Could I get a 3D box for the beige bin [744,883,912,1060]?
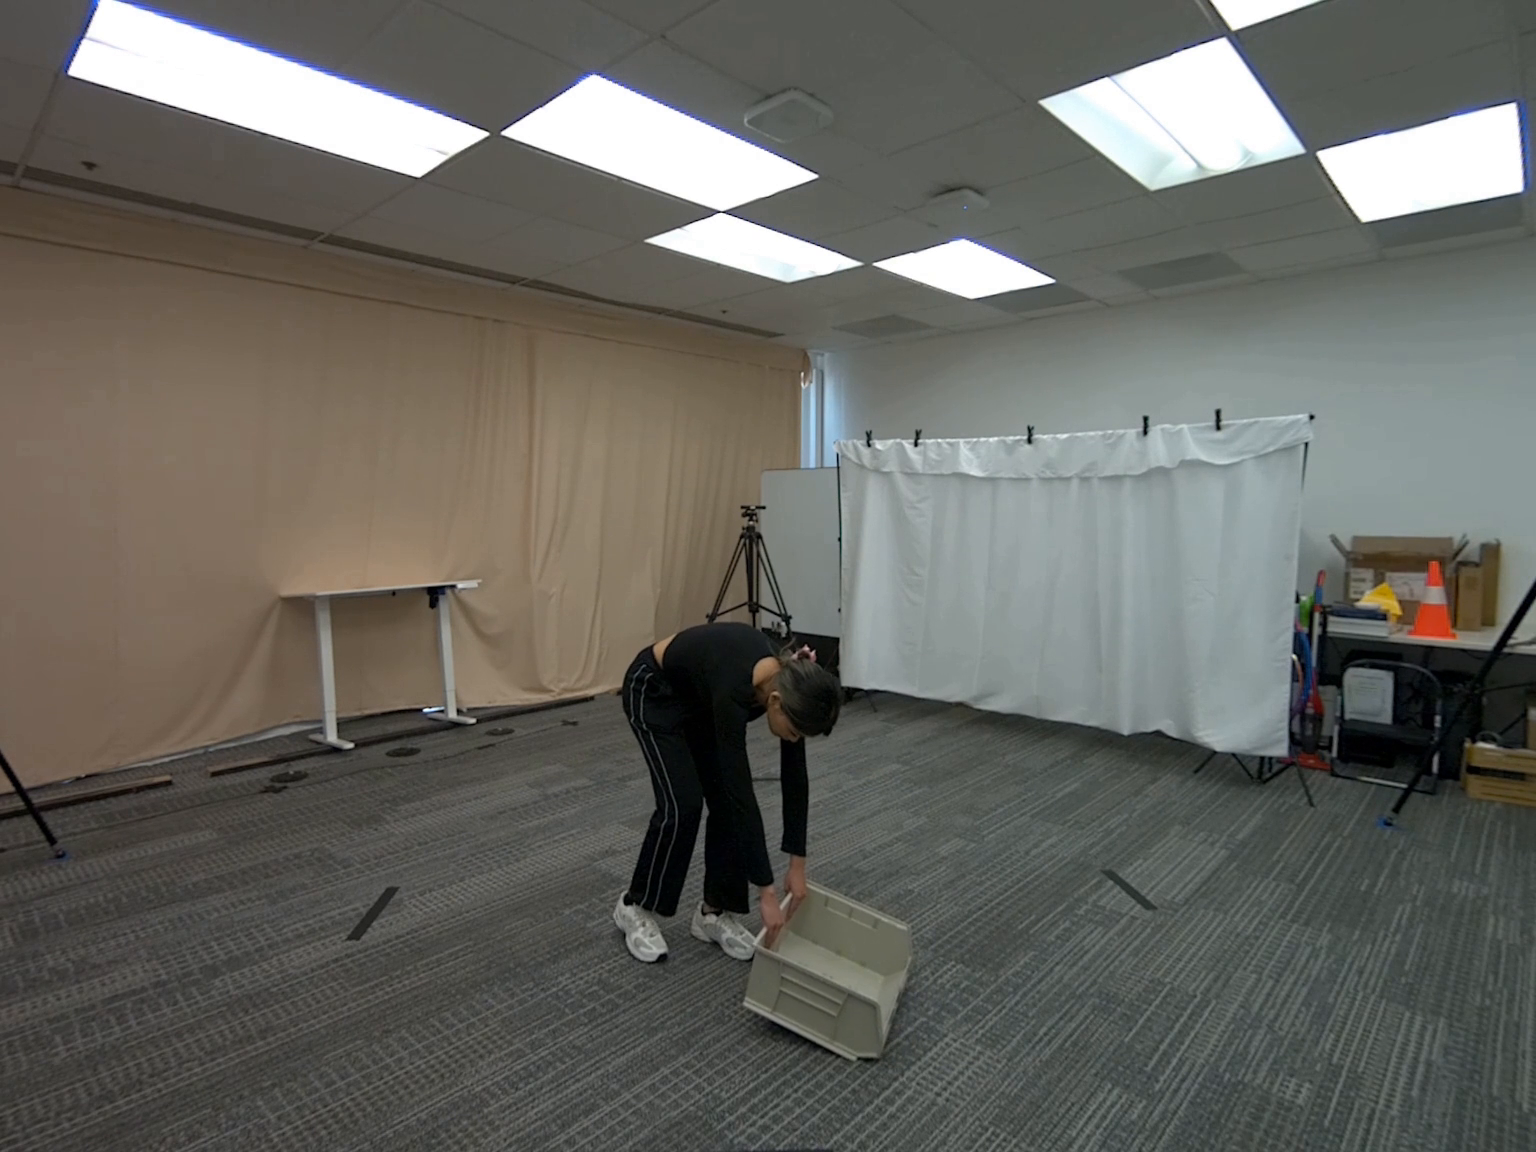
[{"bbox_3d":[0.195,1.080,2.325,0.386,0.188,0.415,13,10,18],"label":"beige bin"}]
